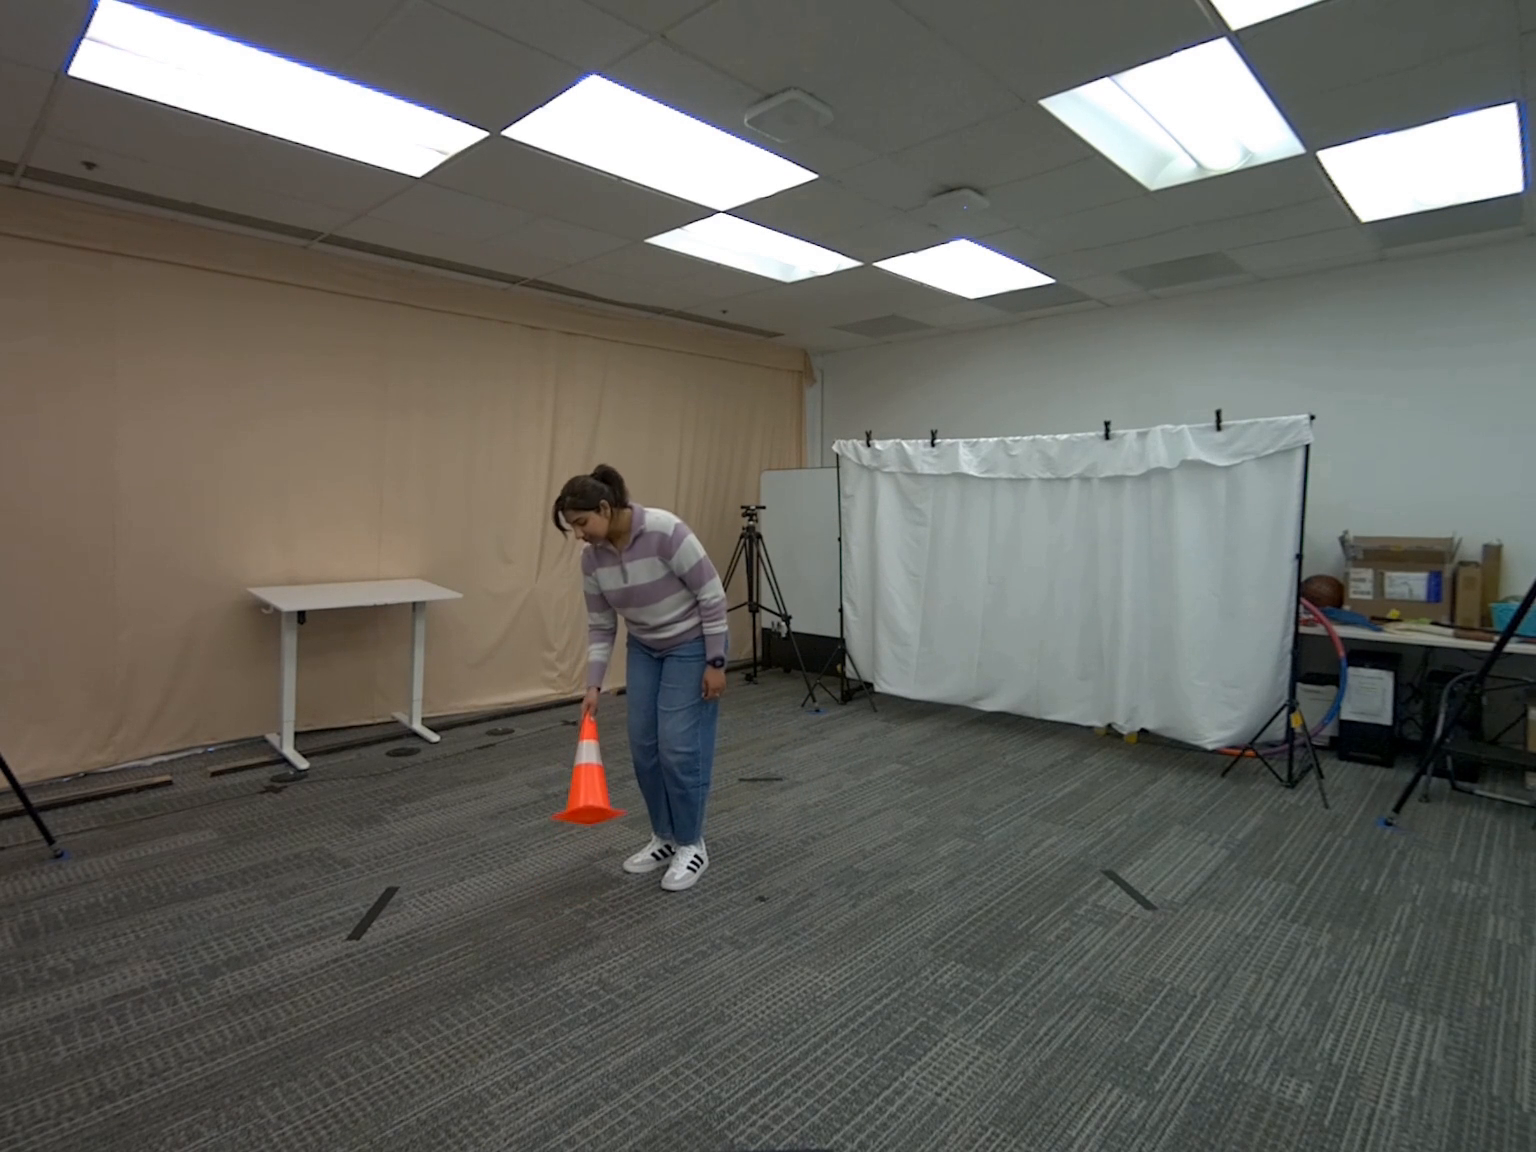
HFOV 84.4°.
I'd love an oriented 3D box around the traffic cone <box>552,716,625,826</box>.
[{"bbox_3d":[-0.633,0.659,2.989,0.207,0.391,0.197,-29,-40,33],"label":"traffic cone"}]
